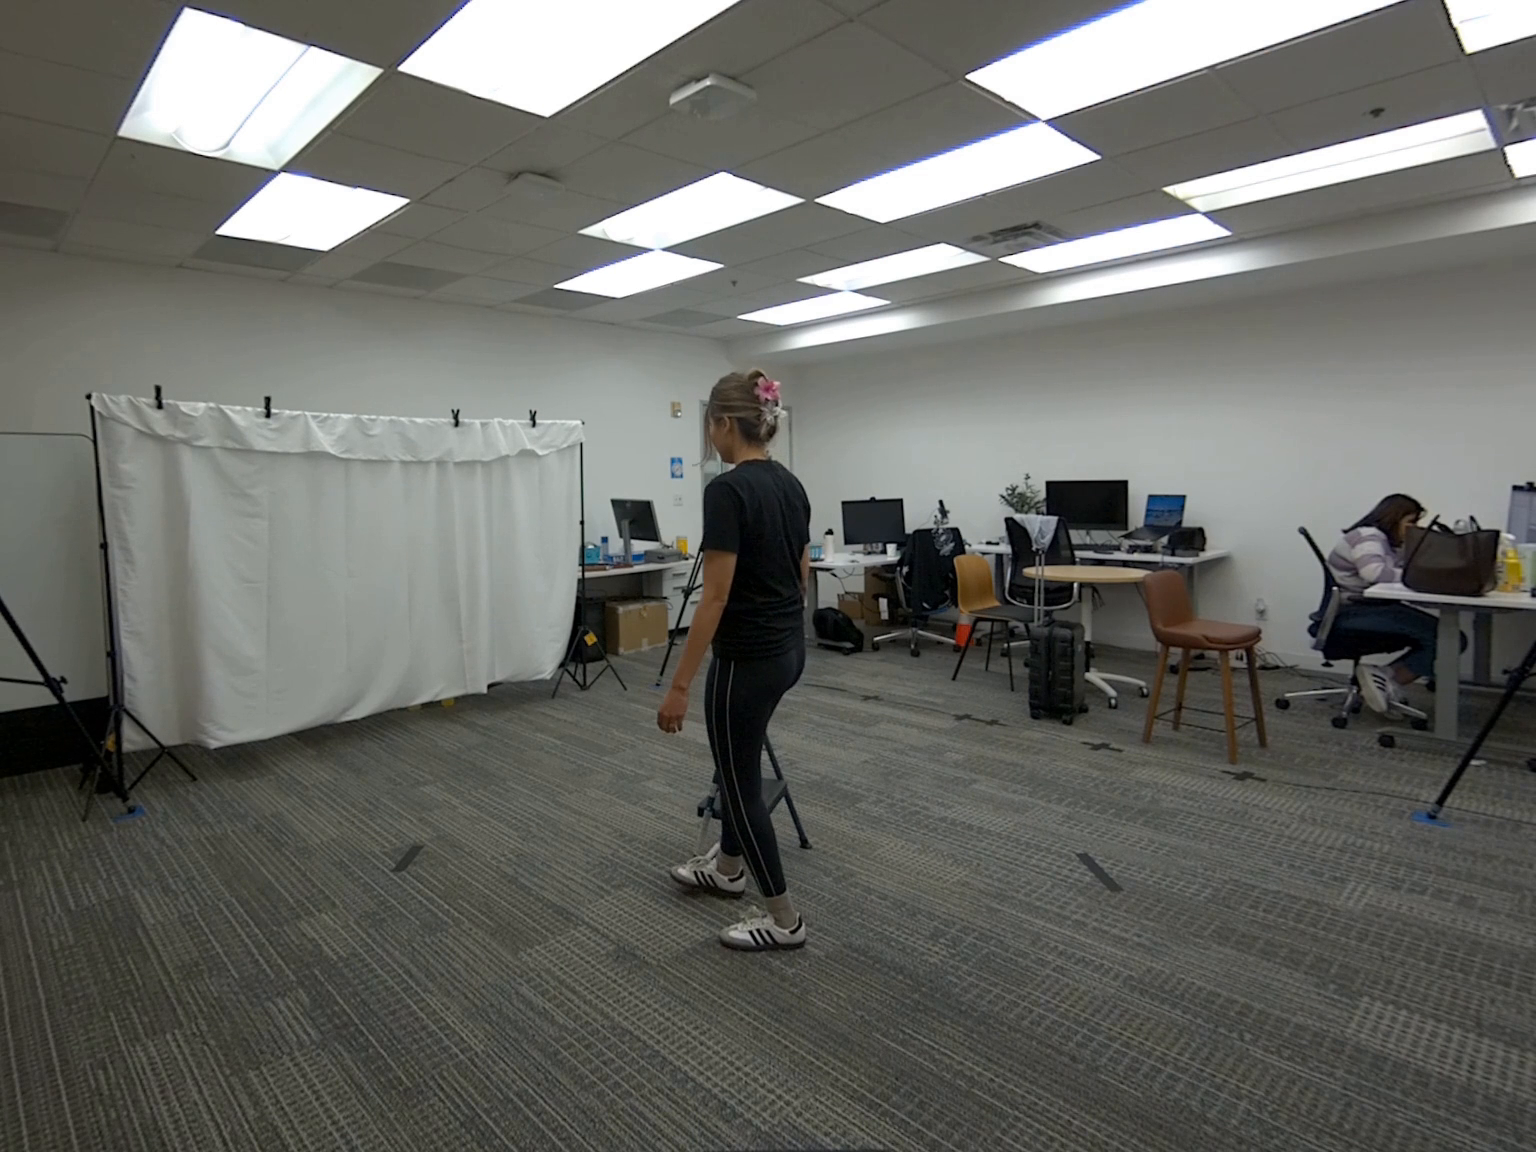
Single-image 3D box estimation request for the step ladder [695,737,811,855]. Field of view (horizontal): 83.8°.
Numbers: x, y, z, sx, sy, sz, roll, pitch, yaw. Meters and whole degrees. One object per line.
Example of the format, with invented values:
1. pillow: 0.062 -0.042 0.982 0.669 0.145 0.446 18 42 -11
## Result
1. step ladder: -0.056 0.745 3.093 0.355 0.604 0.425 1 4 16
